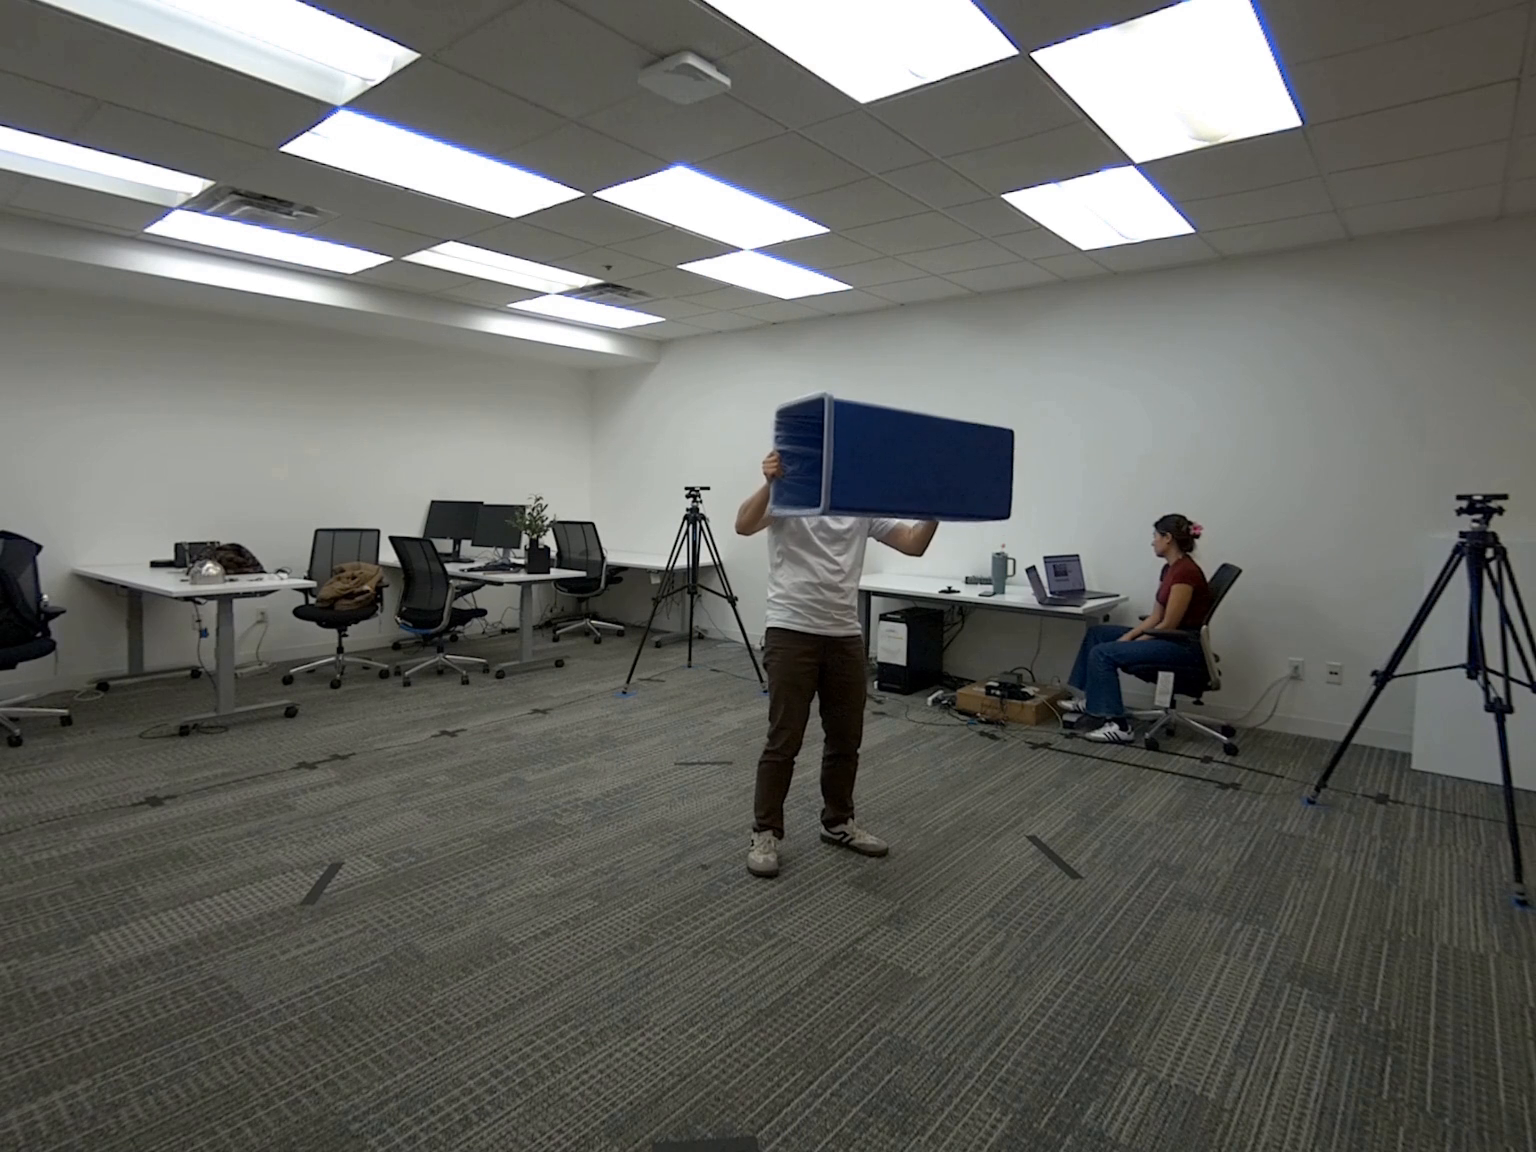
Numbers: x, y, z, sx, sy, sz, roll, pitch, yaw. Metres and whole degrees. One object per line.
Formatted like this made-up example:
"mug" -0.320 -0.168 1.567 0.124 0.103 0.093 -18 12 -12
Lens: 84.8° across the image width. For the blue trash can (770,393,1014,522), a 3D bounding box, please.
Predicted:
"blue trash can" 0.401 -0.347 2.769 0.697 0.374 0.387 4 0 -22
